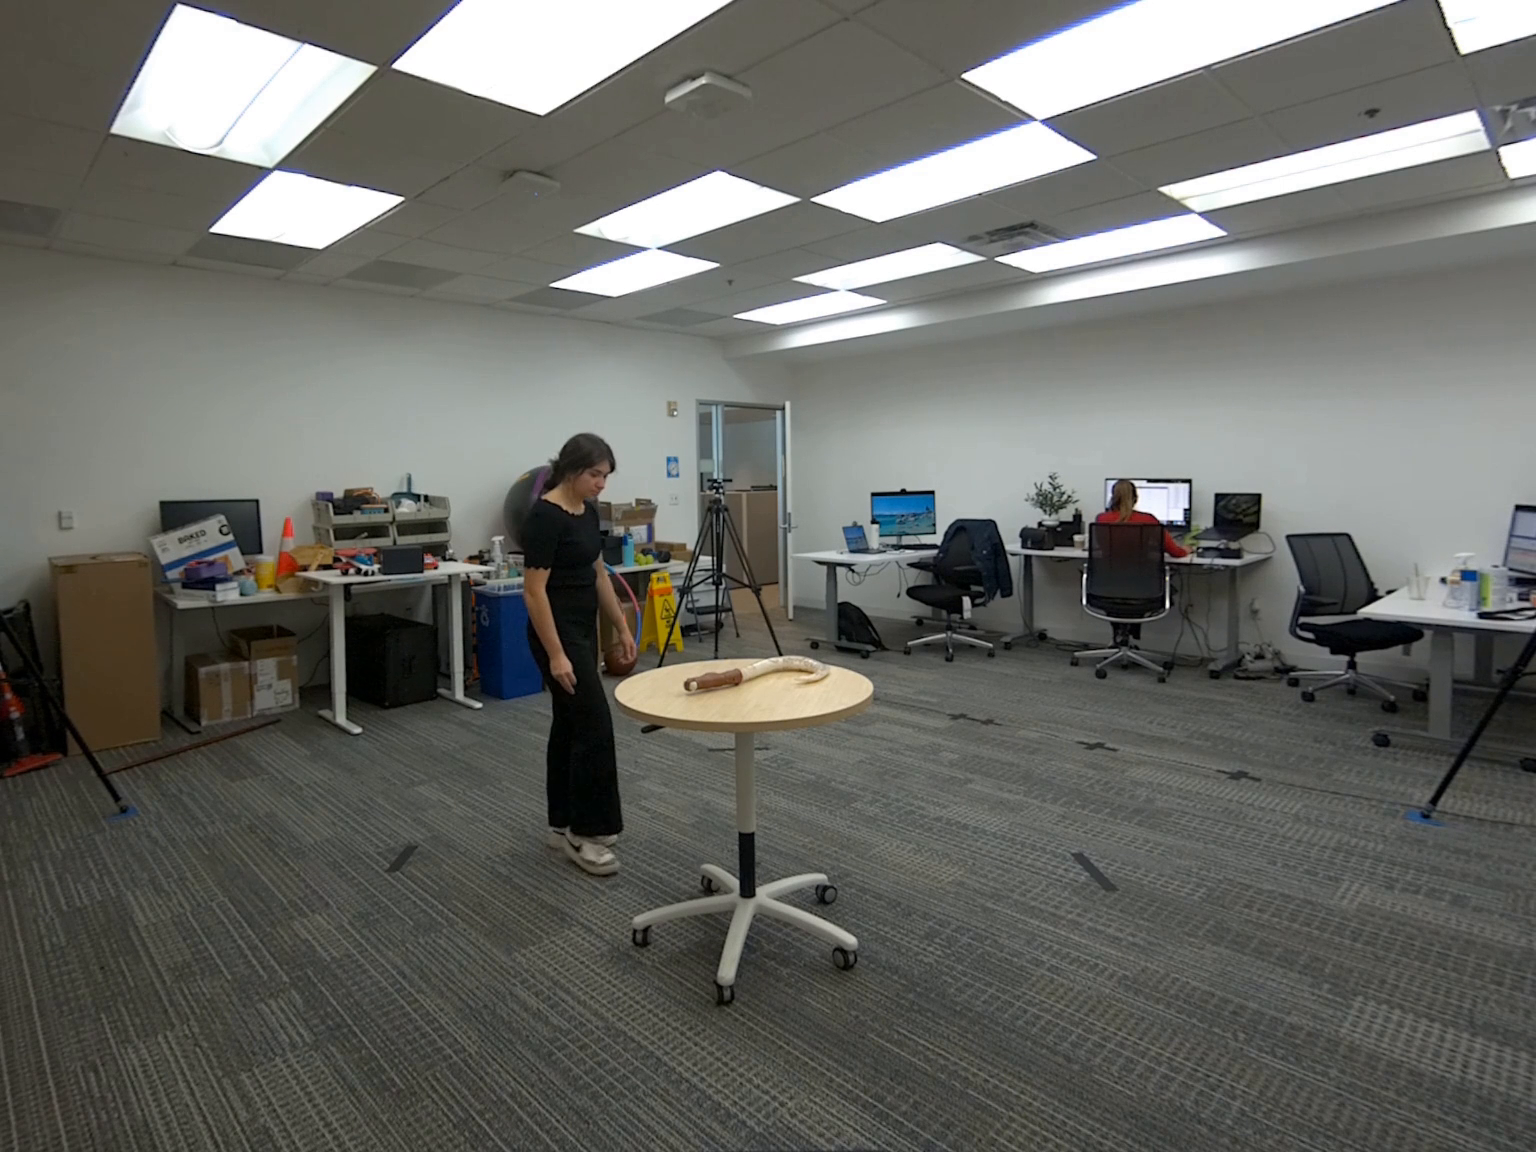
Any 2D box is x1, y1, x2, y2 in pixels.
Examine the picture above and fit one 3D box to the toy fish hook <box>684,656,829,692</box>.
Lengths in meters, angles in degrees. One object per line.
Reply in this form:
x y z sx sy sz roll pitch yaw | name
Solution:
-0.016 0.301 2.567 0.493 0.048 0.231 -5 4 -38 | toy fish hook
